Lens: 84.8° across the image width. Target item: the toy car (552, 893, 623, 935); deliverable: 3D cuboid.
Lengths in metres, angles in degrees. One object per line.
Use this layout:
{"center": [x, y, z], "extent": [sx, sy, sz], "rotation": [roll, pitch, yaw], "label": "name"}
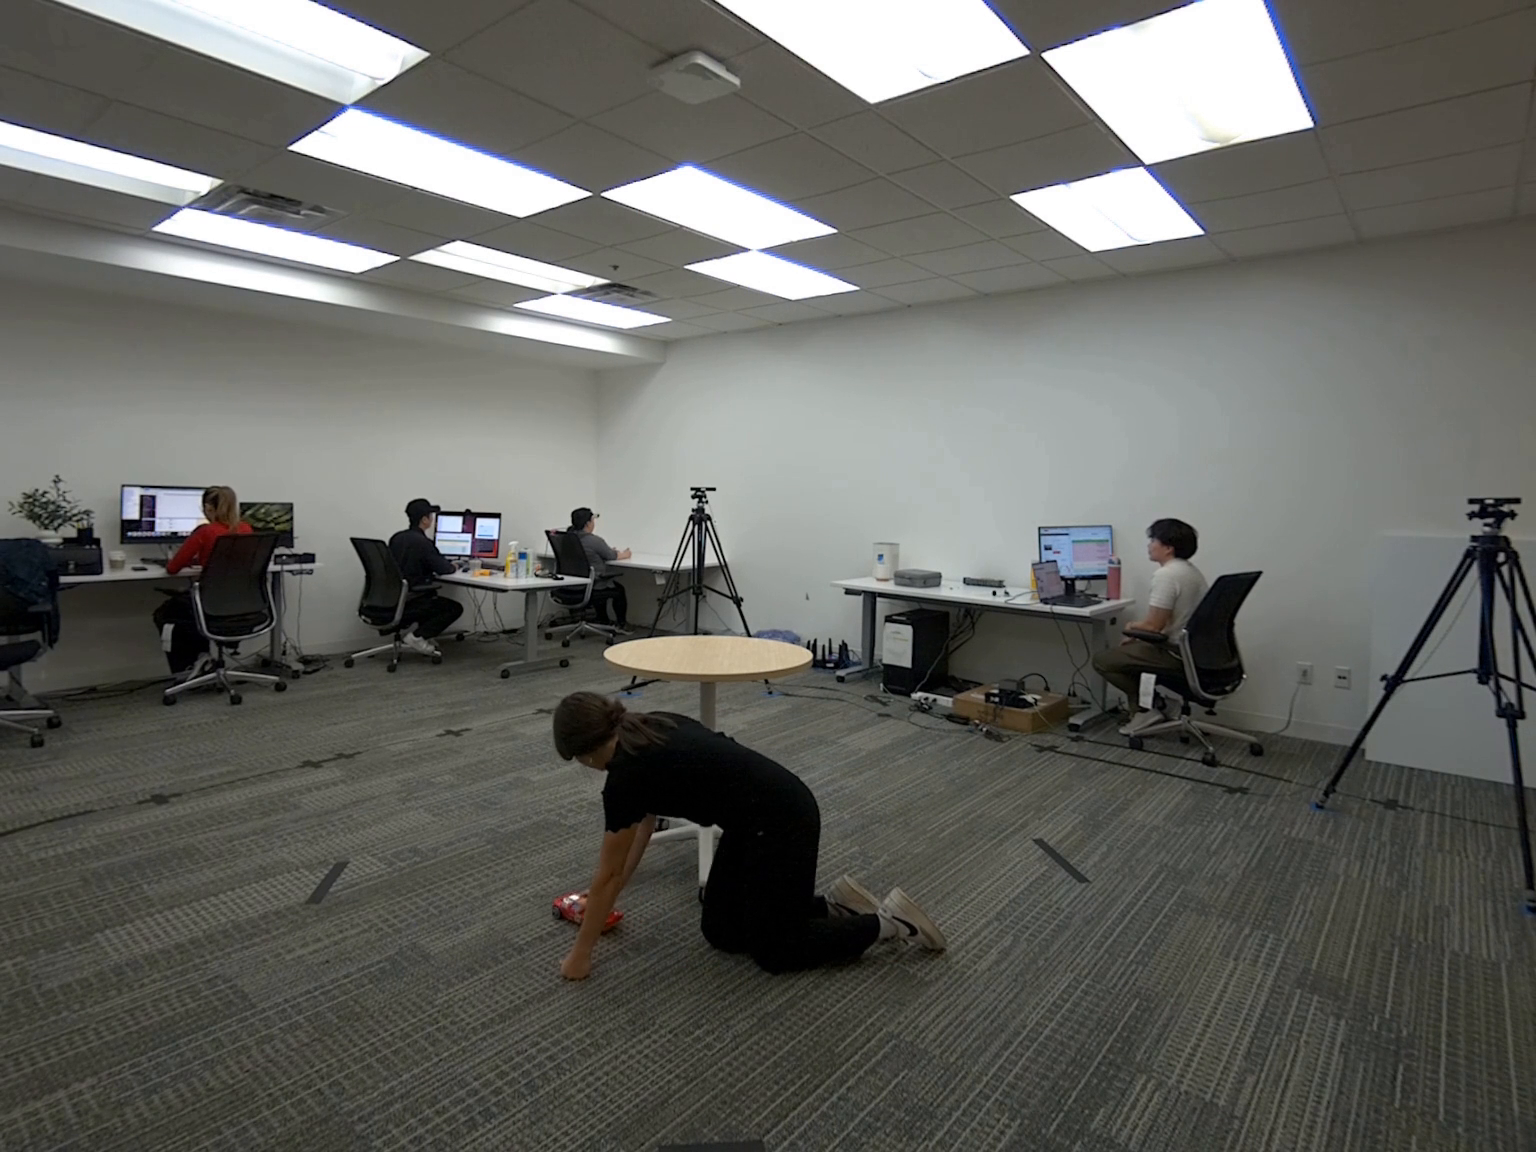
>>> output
{"center": [-0.588, 1.074, 2.708], "extent": [0.261, 0.083, 0.126], "rotation": [-7, -1, 37], "label": "toy car"}
